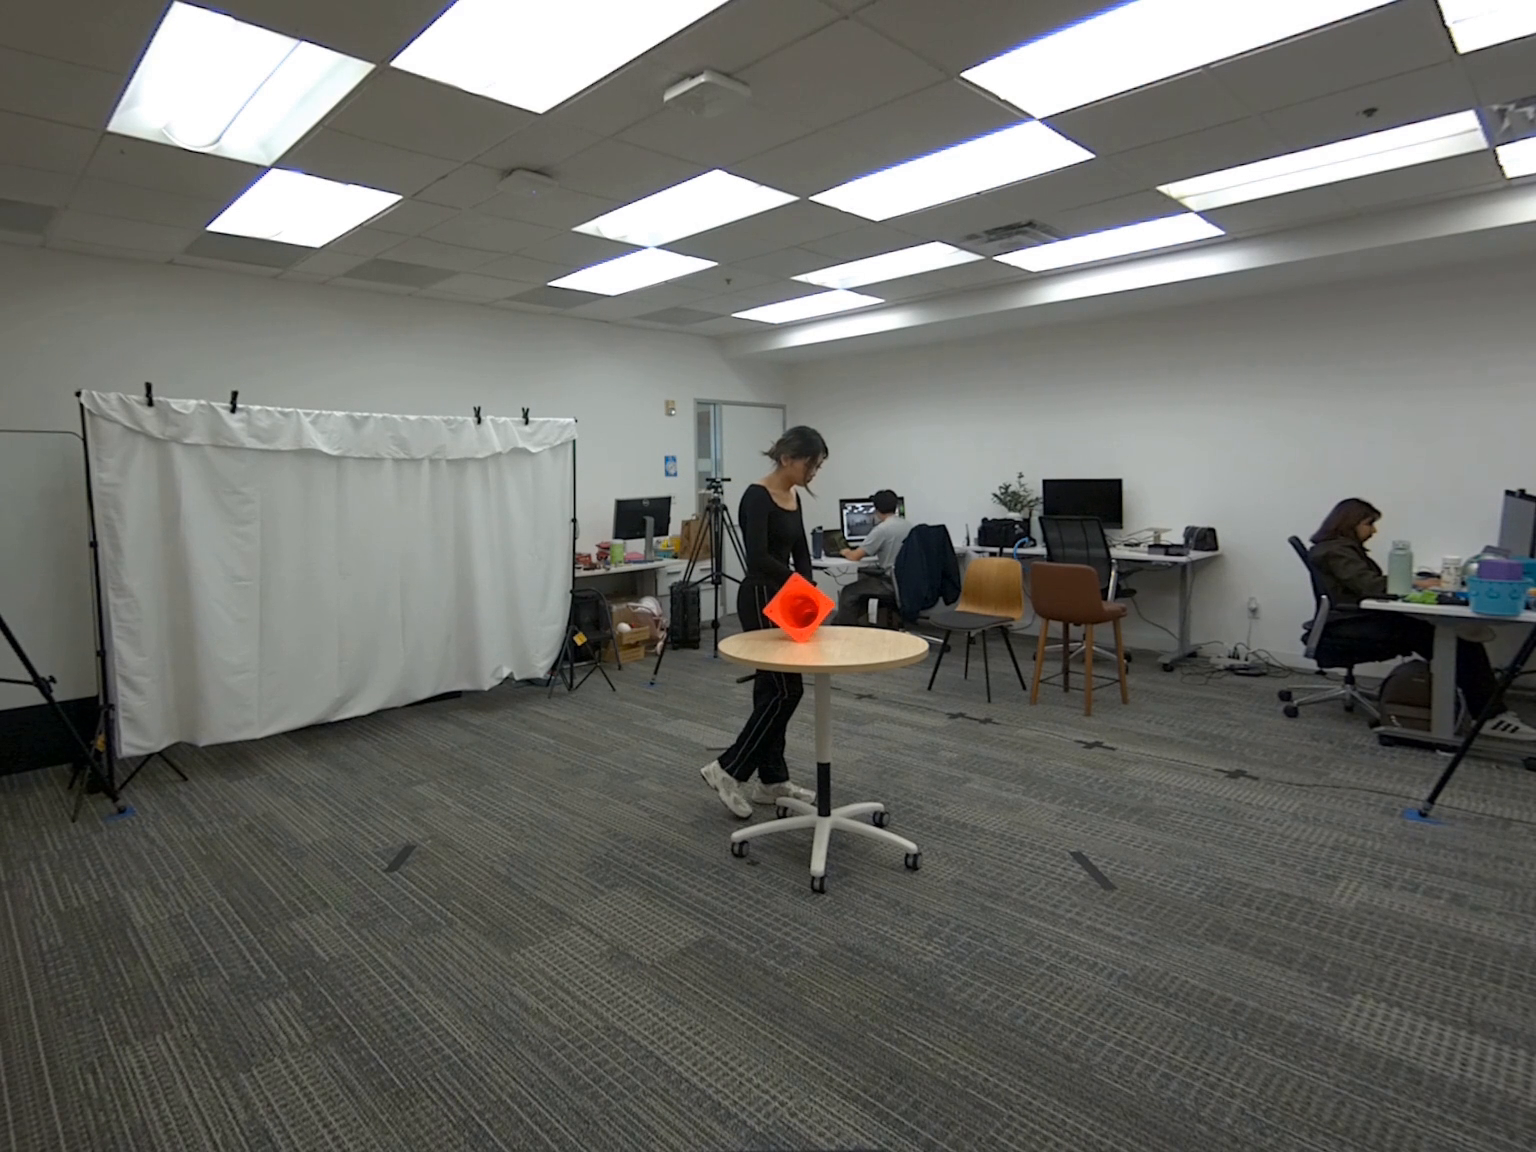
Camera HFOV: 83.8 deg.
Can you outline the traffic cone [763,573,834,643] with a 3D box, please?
[{"bbox_3d":[0.142,0.163,3.380,0.209,0.203,0.375,33,-3,15],"label":"traffic cone"}]
